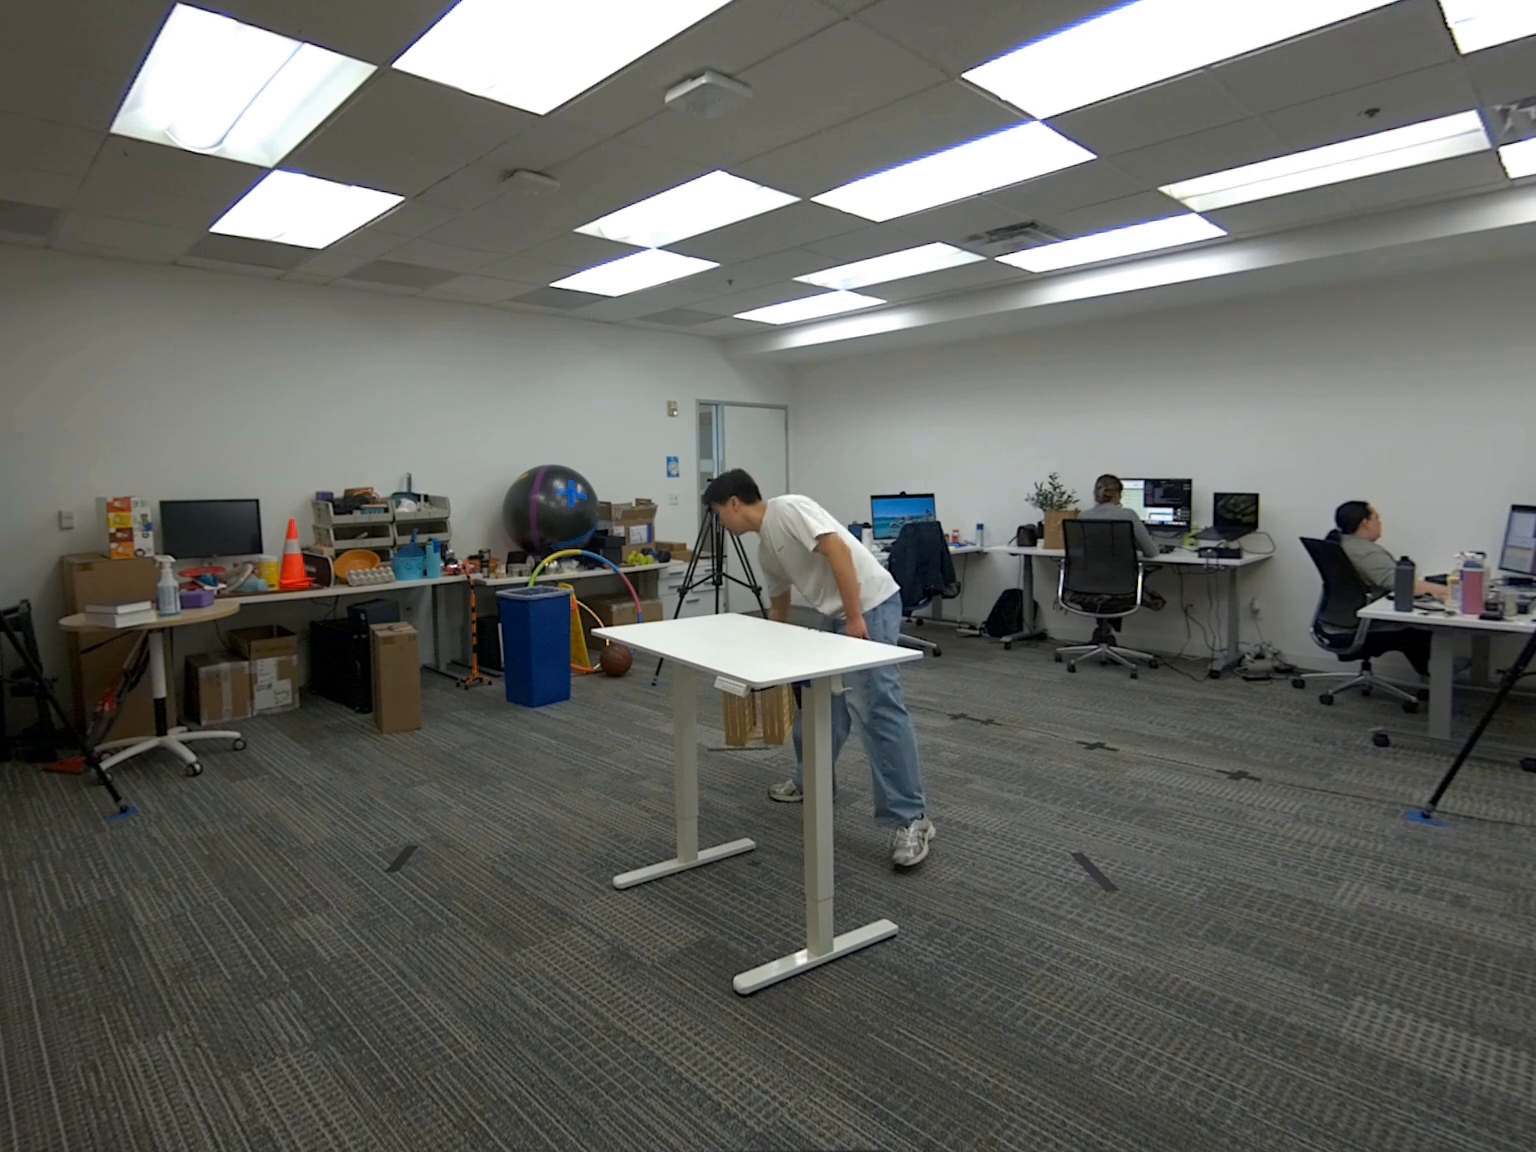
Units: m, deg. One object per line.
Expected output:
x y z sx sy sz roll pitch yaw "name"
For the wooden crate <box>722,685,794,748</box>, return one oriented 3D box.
-0.037 0.580 3.972 0.278 0.320 0.300 2 14 18 "wooden crate"
